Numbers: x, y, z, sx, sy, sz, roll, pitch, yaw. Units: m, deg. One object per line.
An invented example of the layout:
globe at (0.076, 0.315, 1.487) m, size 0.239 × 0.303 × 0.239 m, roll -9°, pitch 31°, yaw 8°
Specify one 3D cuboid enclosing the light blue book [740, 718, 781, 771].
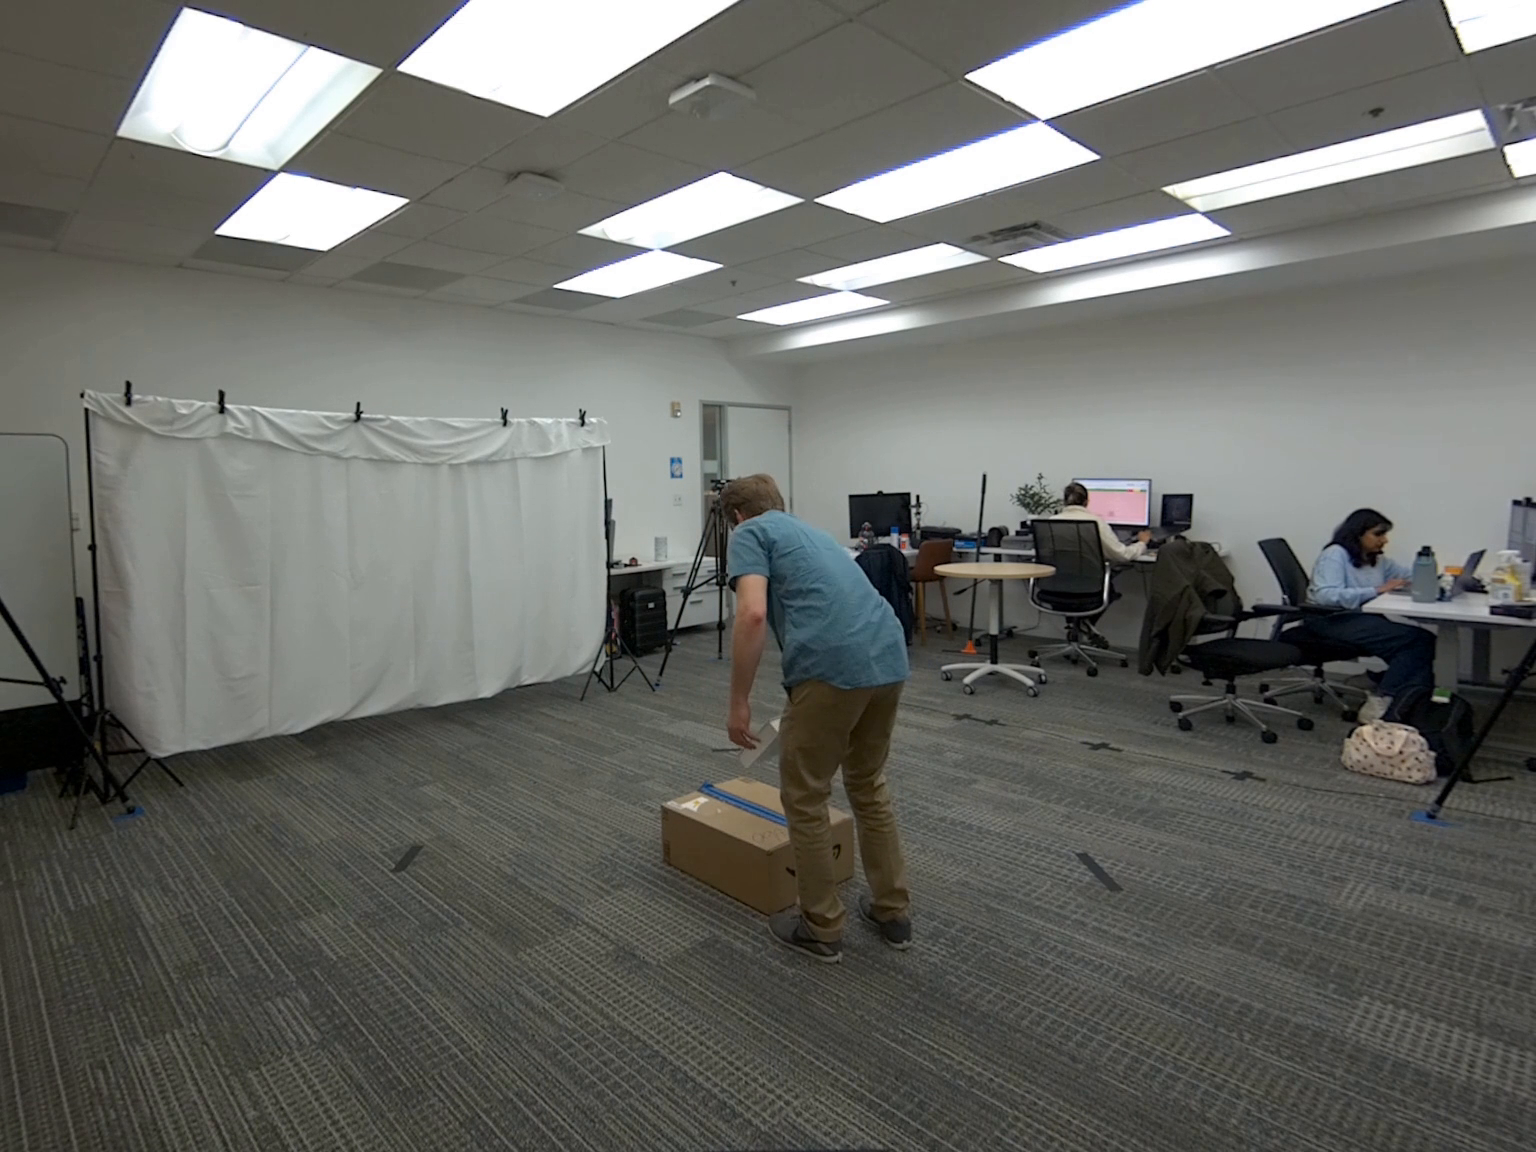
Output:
light blue book at (0.043, 0.560, 2.966) m, size 0.060 × 0.191 × 0.254 m, roll 48°, pitch 21°, yaw 19°
